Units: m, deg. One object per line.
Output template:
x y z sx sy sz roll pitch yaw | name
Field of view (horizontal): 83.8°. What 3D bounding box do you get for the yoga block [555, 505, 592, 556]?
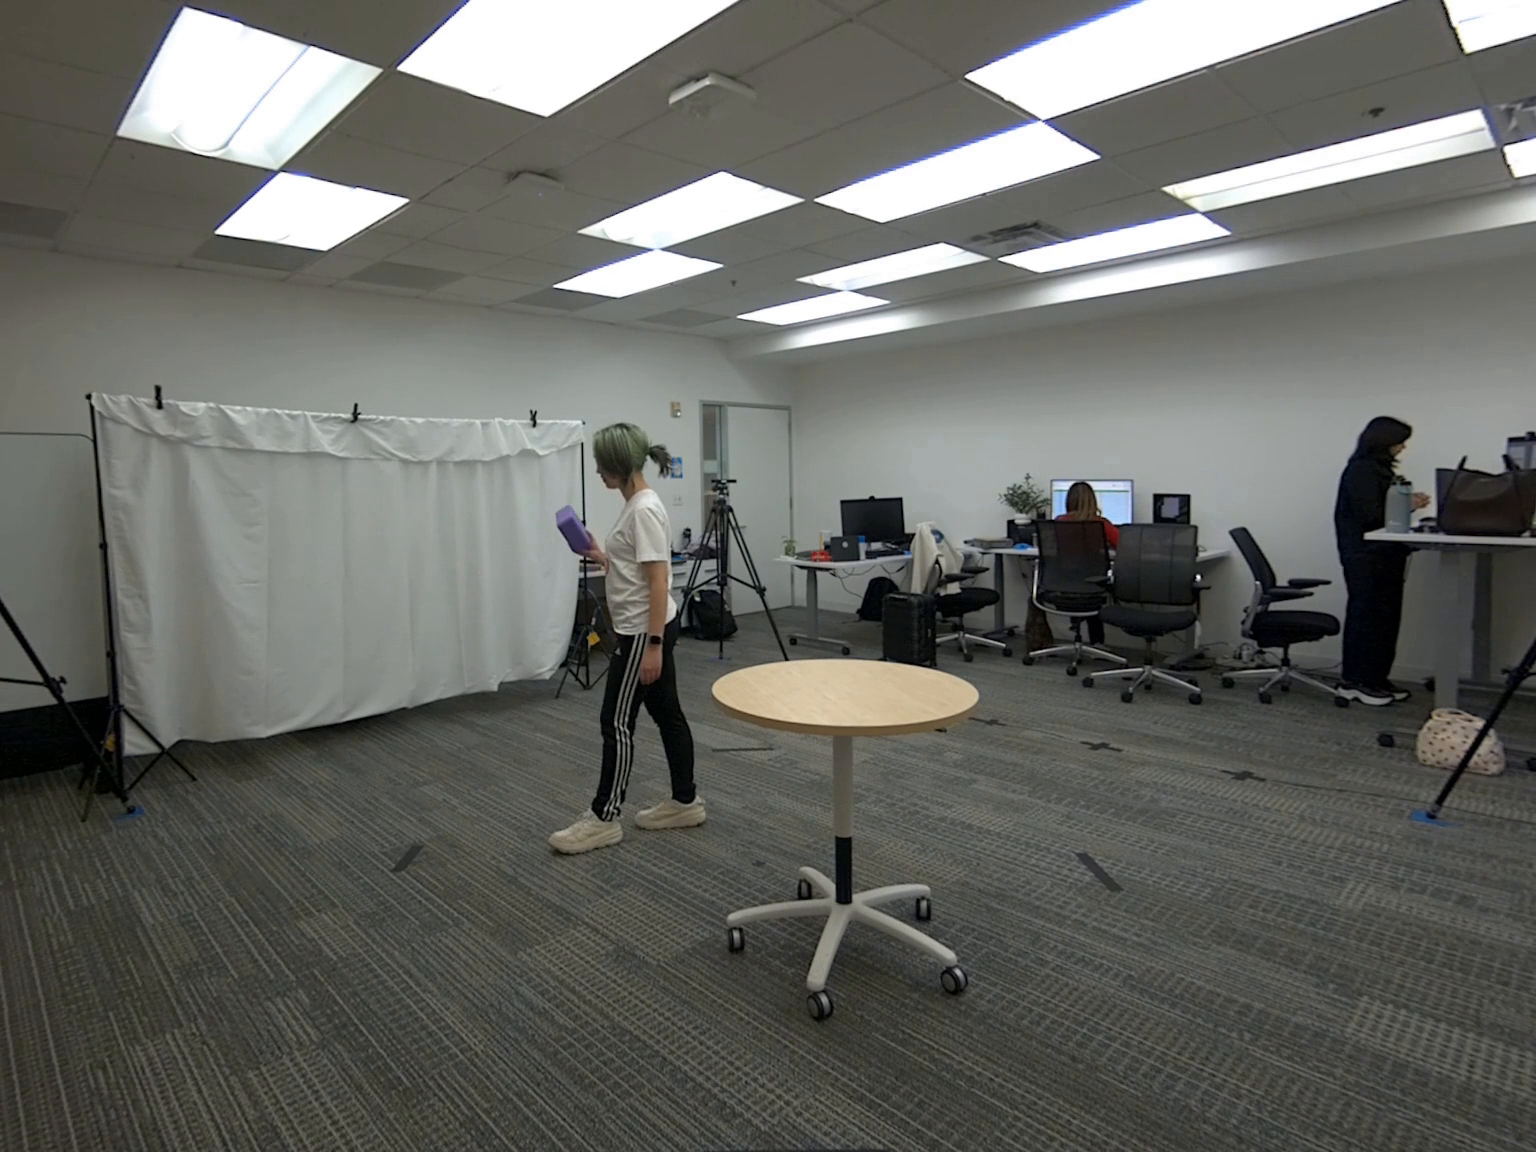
-0.825 -0.202 3.593 0.076 0.145 0.236 -33 23 -4 | yoga block
